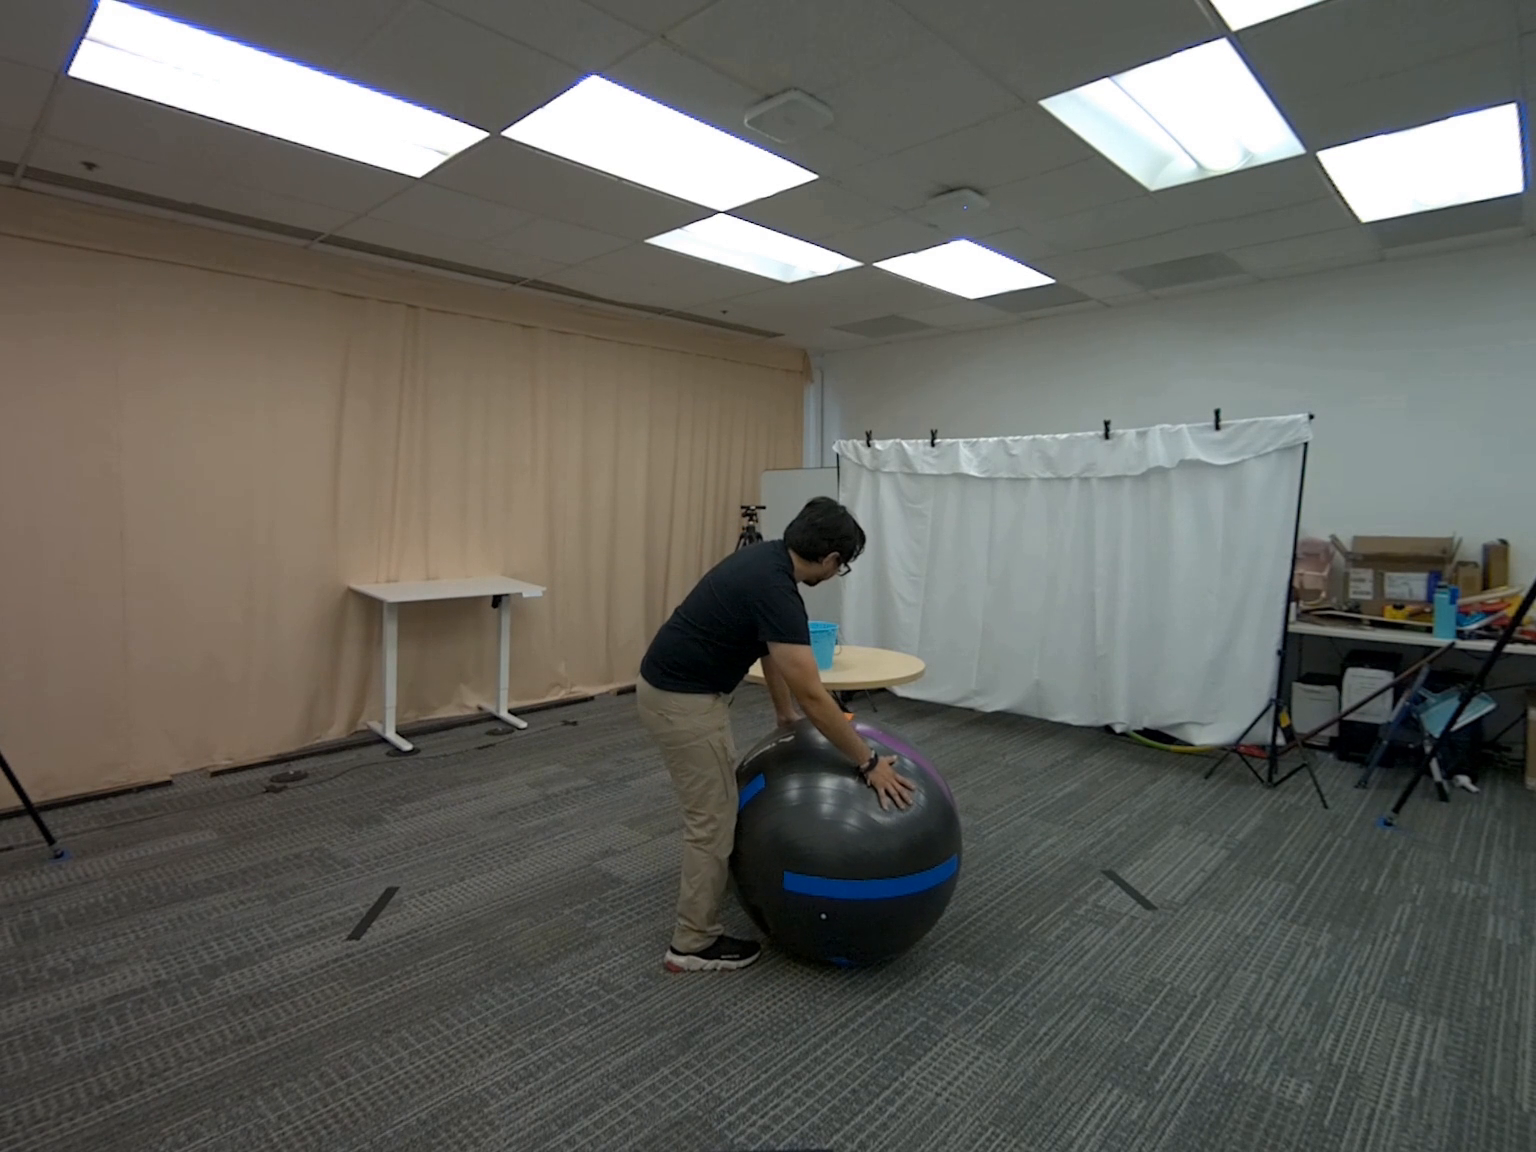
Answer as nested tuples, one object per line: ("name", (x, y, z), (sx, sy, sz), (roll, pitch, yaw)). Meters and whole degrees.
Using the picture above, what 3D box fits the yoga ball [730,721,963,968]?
("yoga ball", (0.238, 0.836, 2.685), (0.757, 0.756, 0.760), (0, 4, -2))
